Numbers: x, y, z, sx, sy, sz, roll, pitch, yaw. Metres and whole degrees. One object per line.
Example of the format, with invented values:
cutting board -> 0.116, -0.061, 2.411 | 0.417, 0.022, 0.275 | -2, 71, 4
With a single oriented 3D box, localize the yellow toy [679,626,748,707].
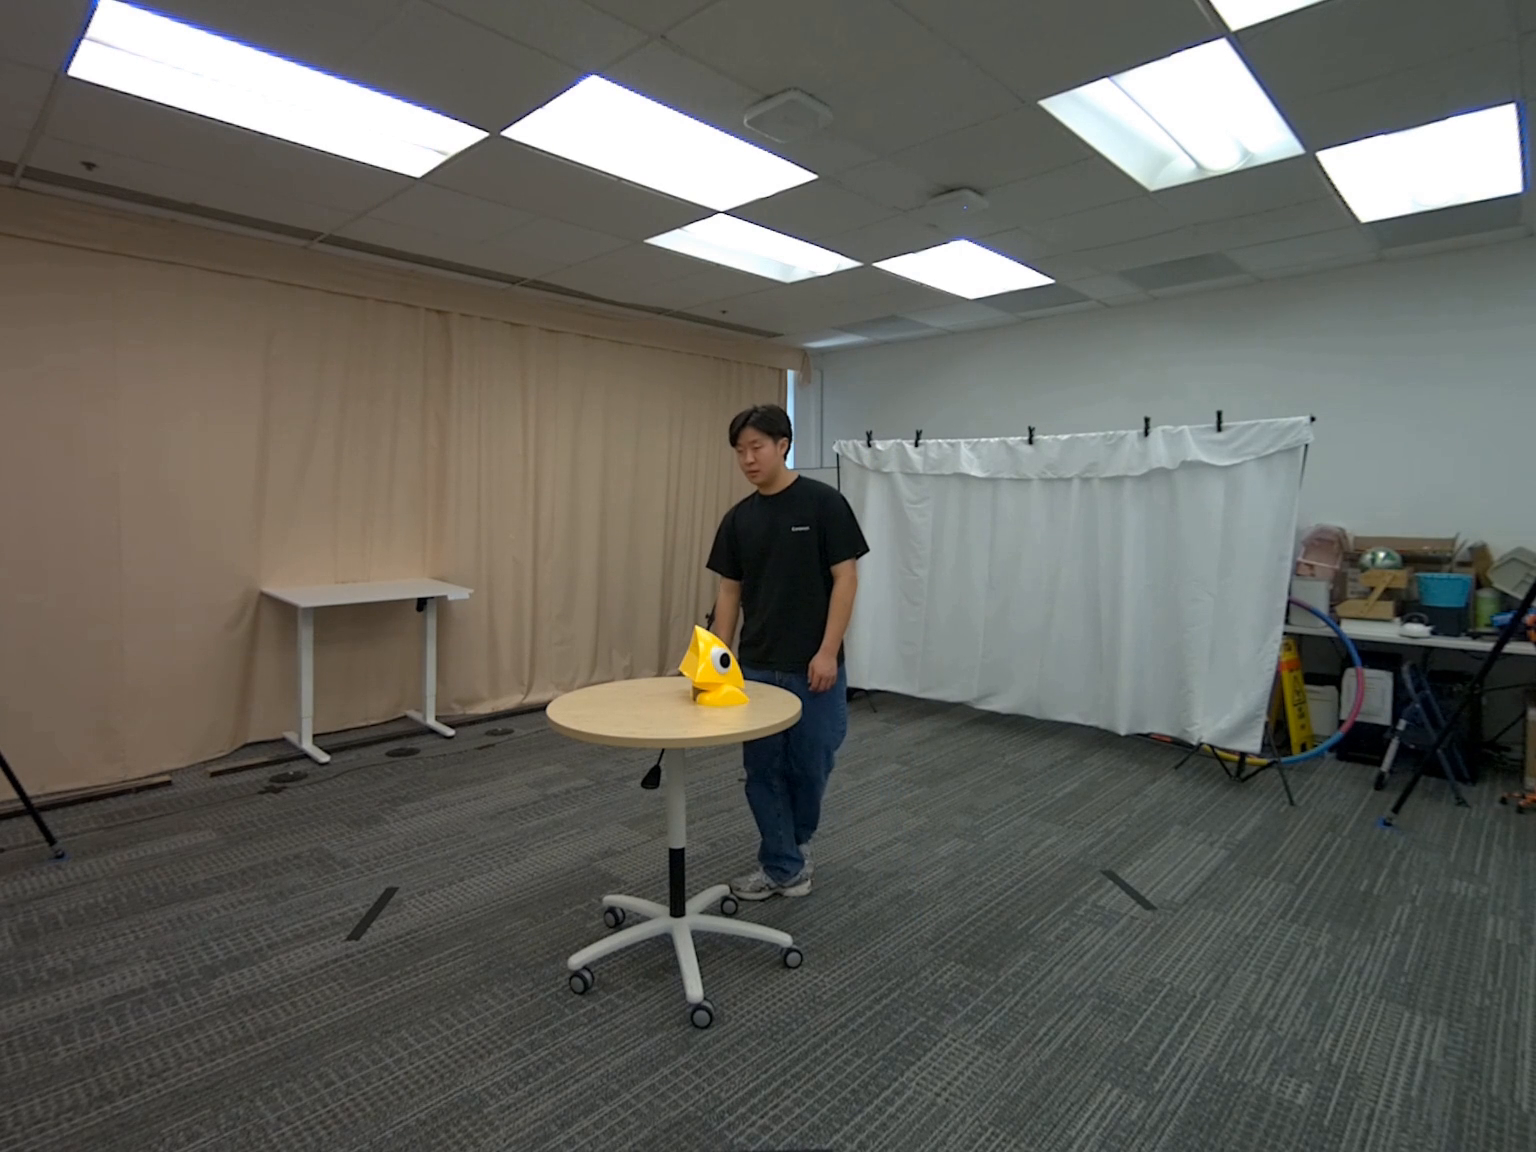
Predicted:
yellow toy -> -0.160, 0.265, 2.604 | 0.189, 0.230, 0.209 | -1, 3, -20
